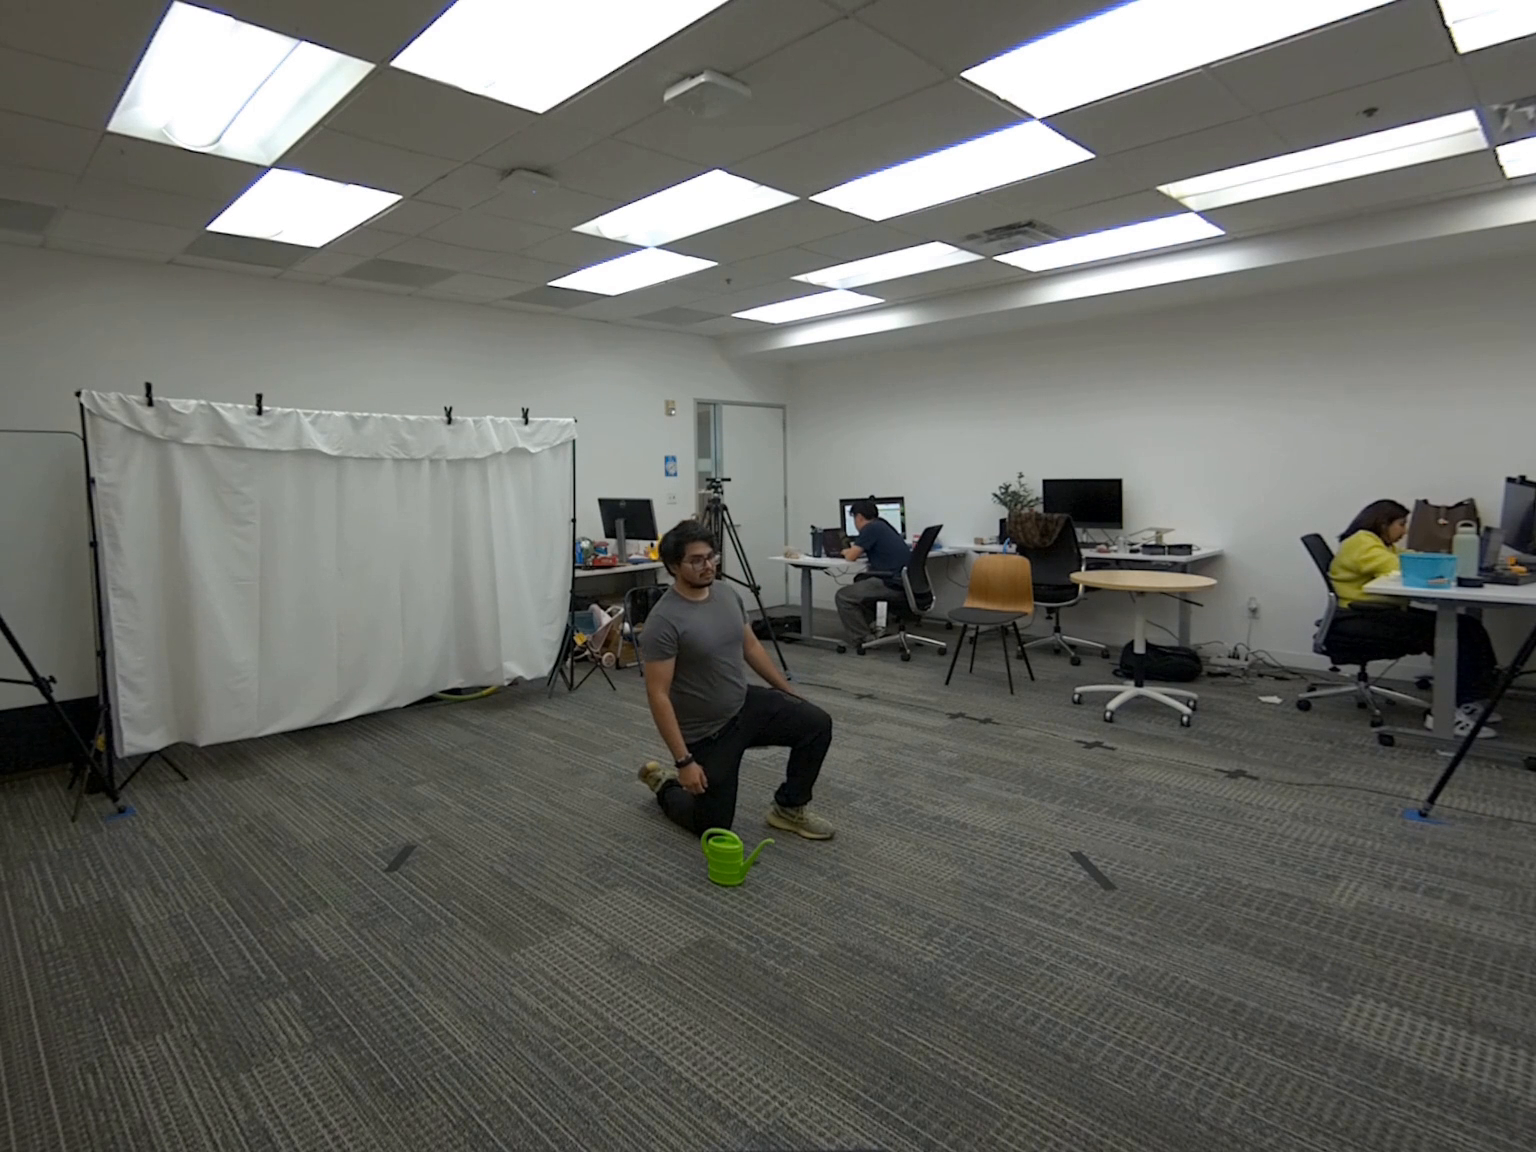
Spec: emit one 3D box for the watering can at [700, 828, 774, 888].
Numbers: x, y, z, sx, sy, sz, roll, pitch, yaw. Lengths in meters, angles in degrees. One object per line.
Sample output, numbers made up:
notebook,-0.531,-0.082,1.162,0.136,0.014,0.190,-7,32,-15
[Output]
watering can,-0.111,0.976,2.942,0.287,0.176,0.095,4,7,42
